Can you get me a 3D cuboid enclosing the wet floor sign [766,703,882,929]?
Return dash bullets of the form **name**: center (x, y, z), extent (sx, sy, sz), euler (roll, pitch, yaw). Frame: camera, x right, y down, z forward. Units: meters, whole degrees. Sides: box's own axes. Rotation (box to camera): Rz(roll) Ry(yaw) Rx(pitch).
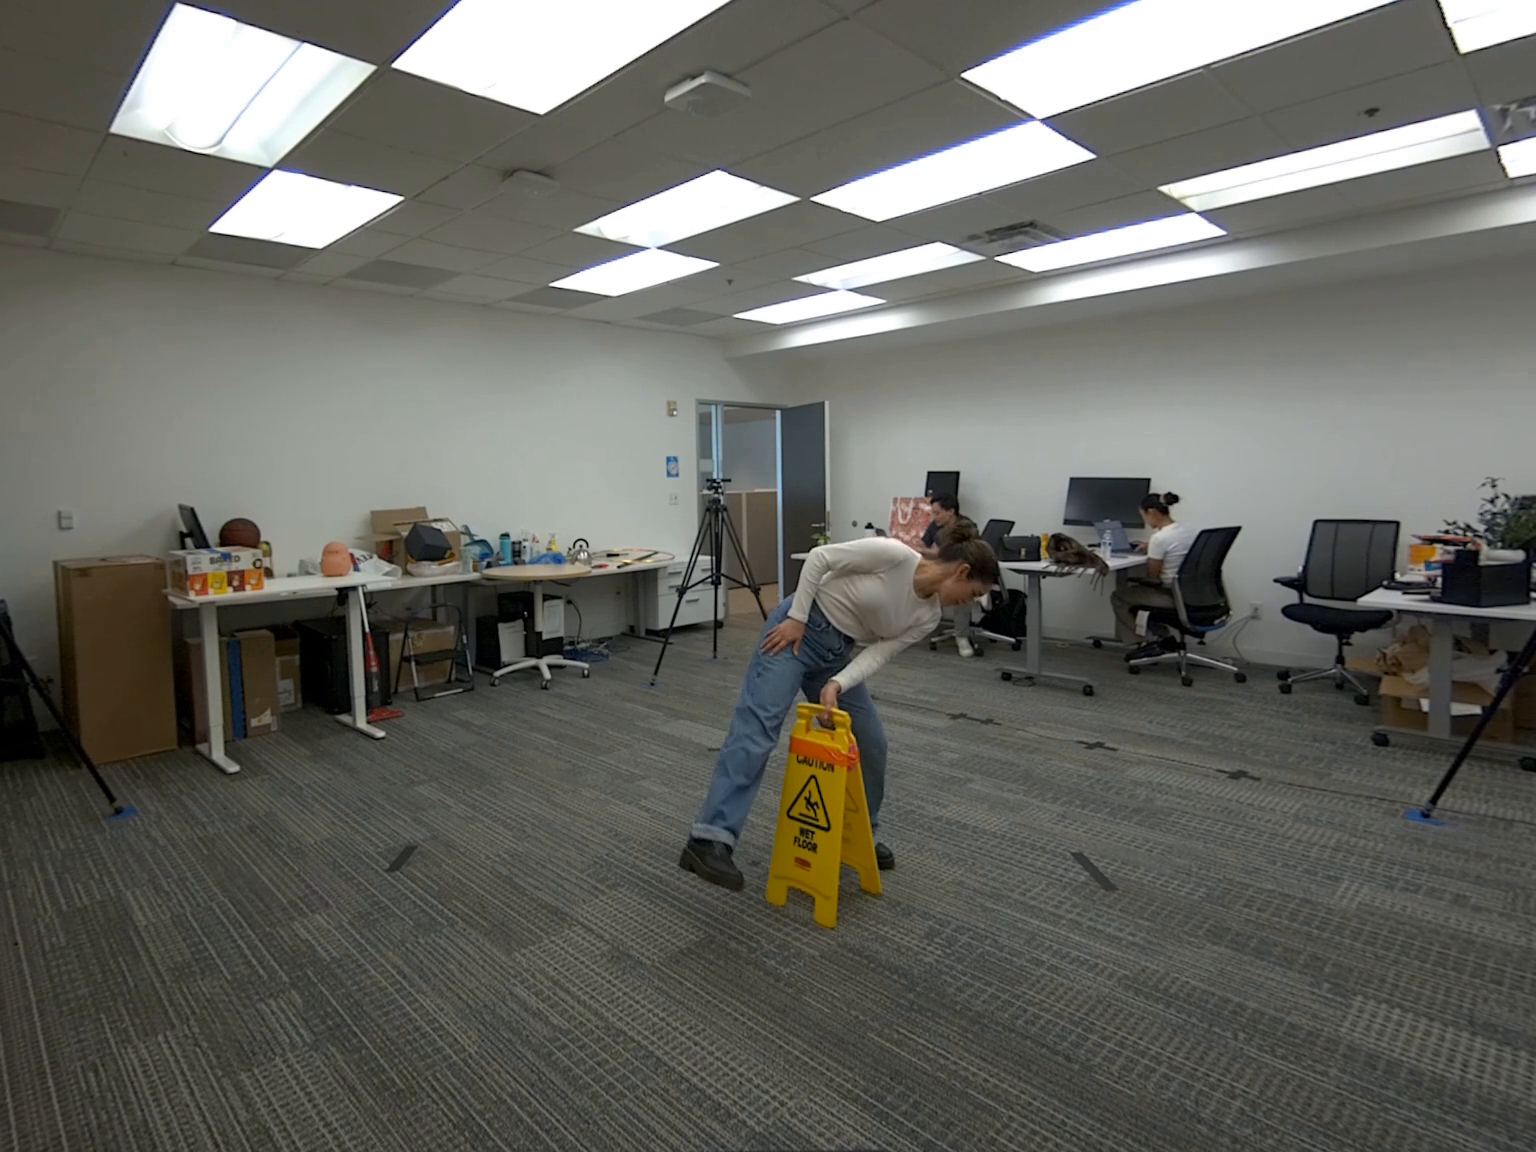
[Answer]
- **wet floor sign**: center (0.183, 0.752, 2.815), extent (0.291, 0.643, 0.282), euler (3, 6, 41)
